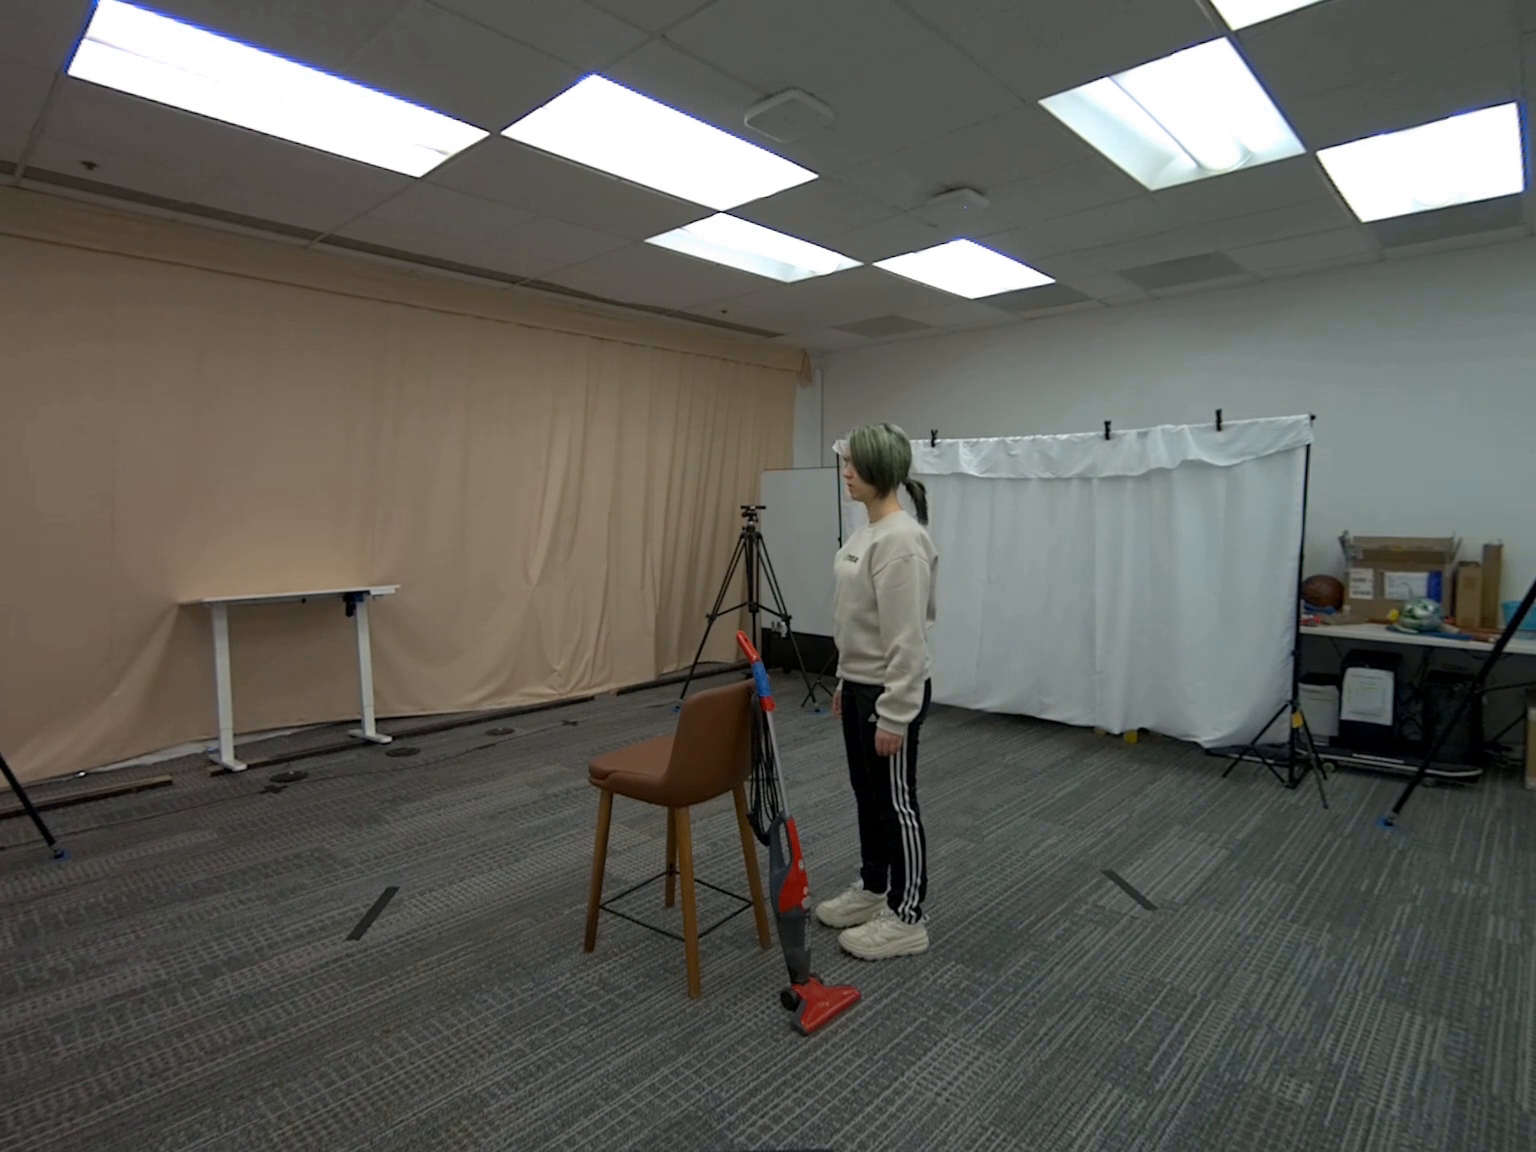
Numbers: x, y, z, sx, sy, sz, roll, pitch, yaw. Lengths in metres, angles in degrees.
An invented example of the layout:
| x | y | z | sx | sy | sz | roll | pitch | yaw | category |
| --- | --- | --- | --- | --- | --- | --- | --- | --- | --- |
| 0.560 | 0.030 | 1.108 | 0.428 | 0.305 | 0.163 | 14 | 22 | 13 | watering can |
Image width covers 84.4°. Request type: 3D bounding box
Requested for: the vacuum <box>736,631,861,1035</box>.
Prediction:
| x | y | z | sx | sy | sz | roll | pitch | yaw | category |
| --- | --- | --- | --- | --- | --- | --- | --- | --- | --- |
| 0.037 | 0.697 | 2.393 | 0.147 | 1.054 | 0.245 | -17 | -7 | 41 | vacuum |
